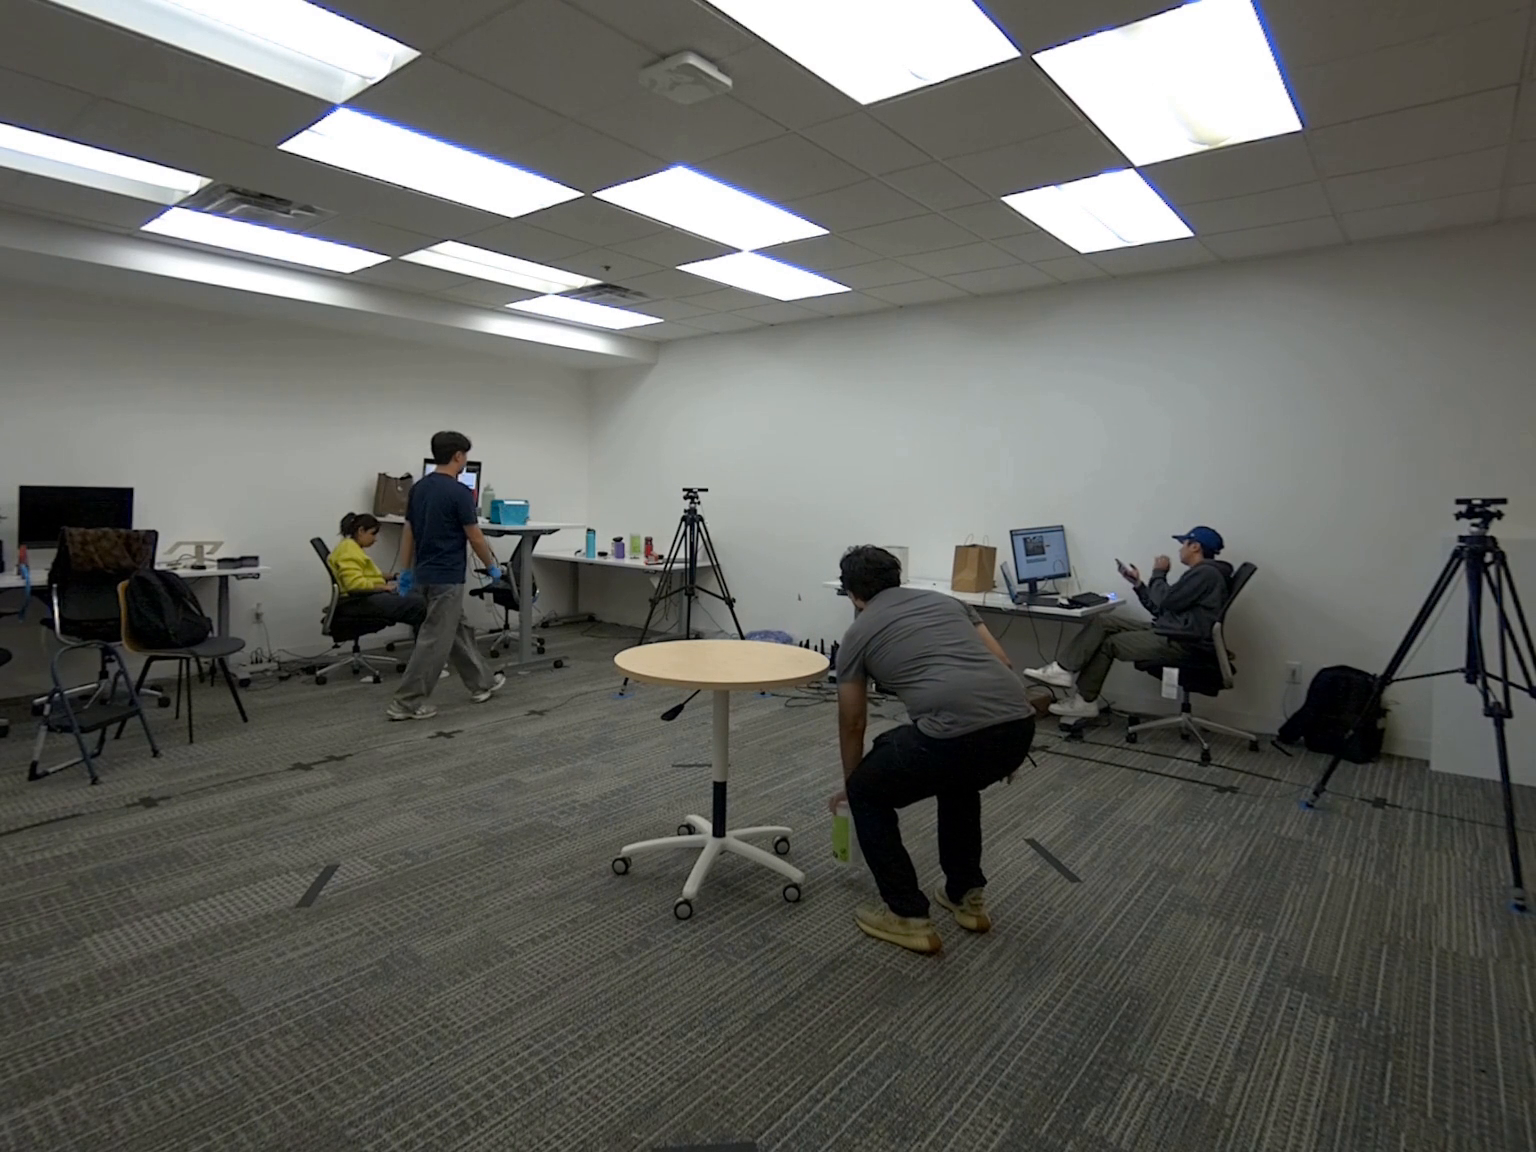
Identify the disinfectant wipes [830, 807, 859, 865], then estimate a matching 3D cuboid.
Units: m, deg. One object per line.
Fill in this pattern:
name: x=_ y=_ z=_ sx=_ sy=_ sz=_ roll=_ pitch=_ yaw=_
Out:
disinfectant wipes: x=0.280 y=0.919 z=3.045 sx=0.118 sy=0.216 sz=0.118 roll=-3 pitch=6 yaw=-1
